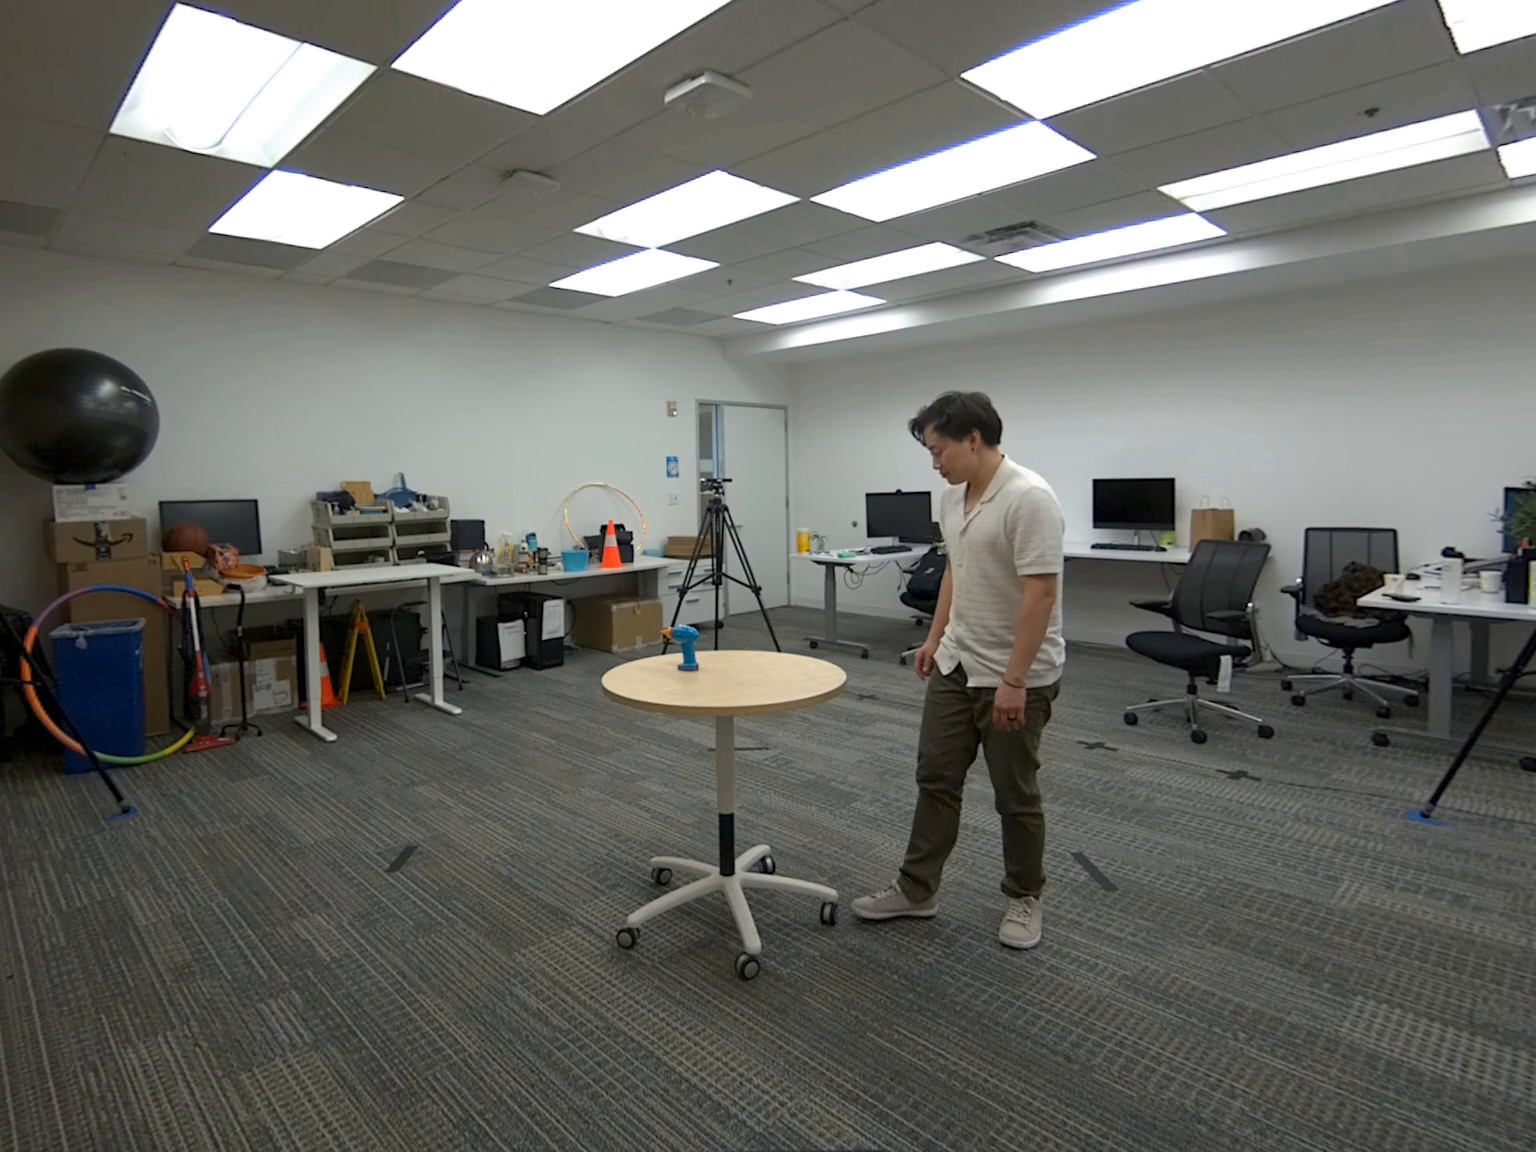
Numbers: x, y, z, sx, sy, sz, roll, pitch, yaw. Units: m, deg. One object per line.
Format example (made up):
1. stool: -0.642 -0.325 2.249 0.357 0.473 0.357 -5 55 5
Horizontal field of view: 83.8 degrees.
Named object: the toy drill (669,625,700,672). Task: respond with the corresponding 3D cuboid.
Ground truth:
1. toy drill: -0.283 0.229 2.794 0.175 0.146 0.059 2 2 38
